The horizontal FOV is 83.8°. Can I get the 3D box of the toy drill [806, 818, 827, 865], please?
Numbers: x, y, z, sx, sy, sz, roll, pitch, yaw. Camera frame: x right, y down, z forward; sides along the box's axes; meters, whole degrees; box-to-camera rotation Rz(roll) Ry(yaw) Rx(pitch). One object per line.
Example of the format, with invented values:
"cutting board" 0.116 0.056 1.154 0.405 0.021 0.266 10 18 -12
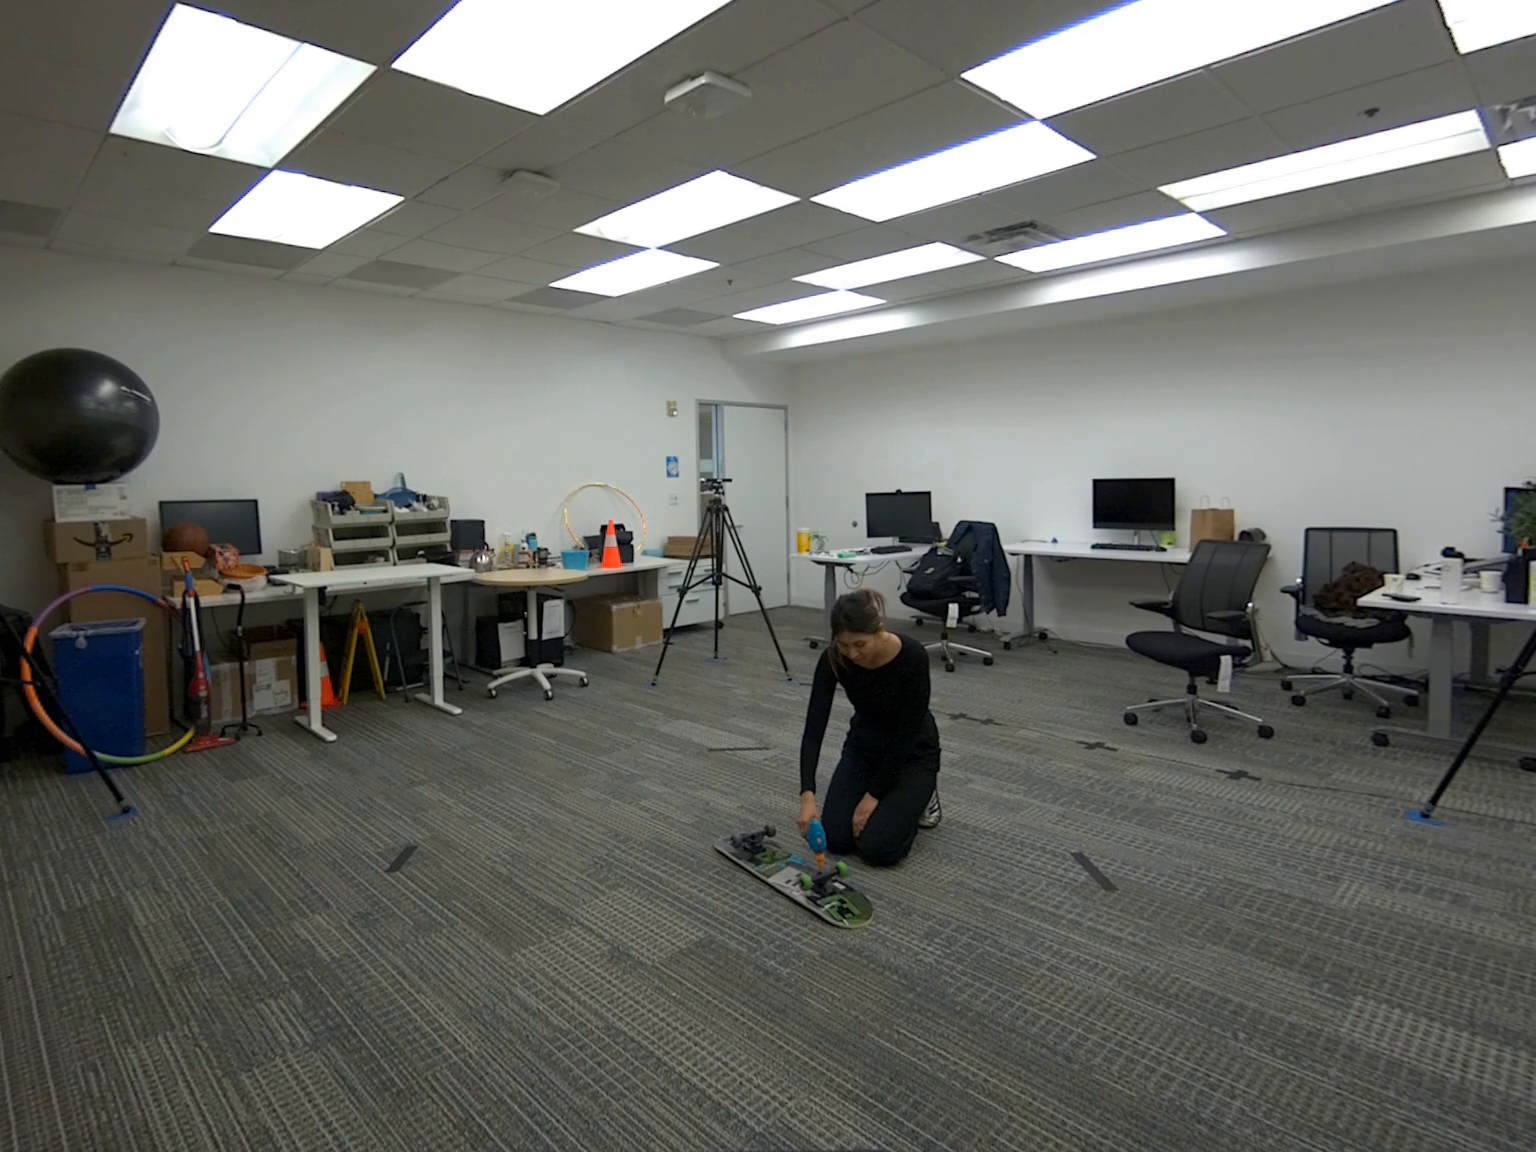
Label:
"toy drill" 0.160 0.912 2.937 0.061 0.171 0.145 -7 -4 -3
